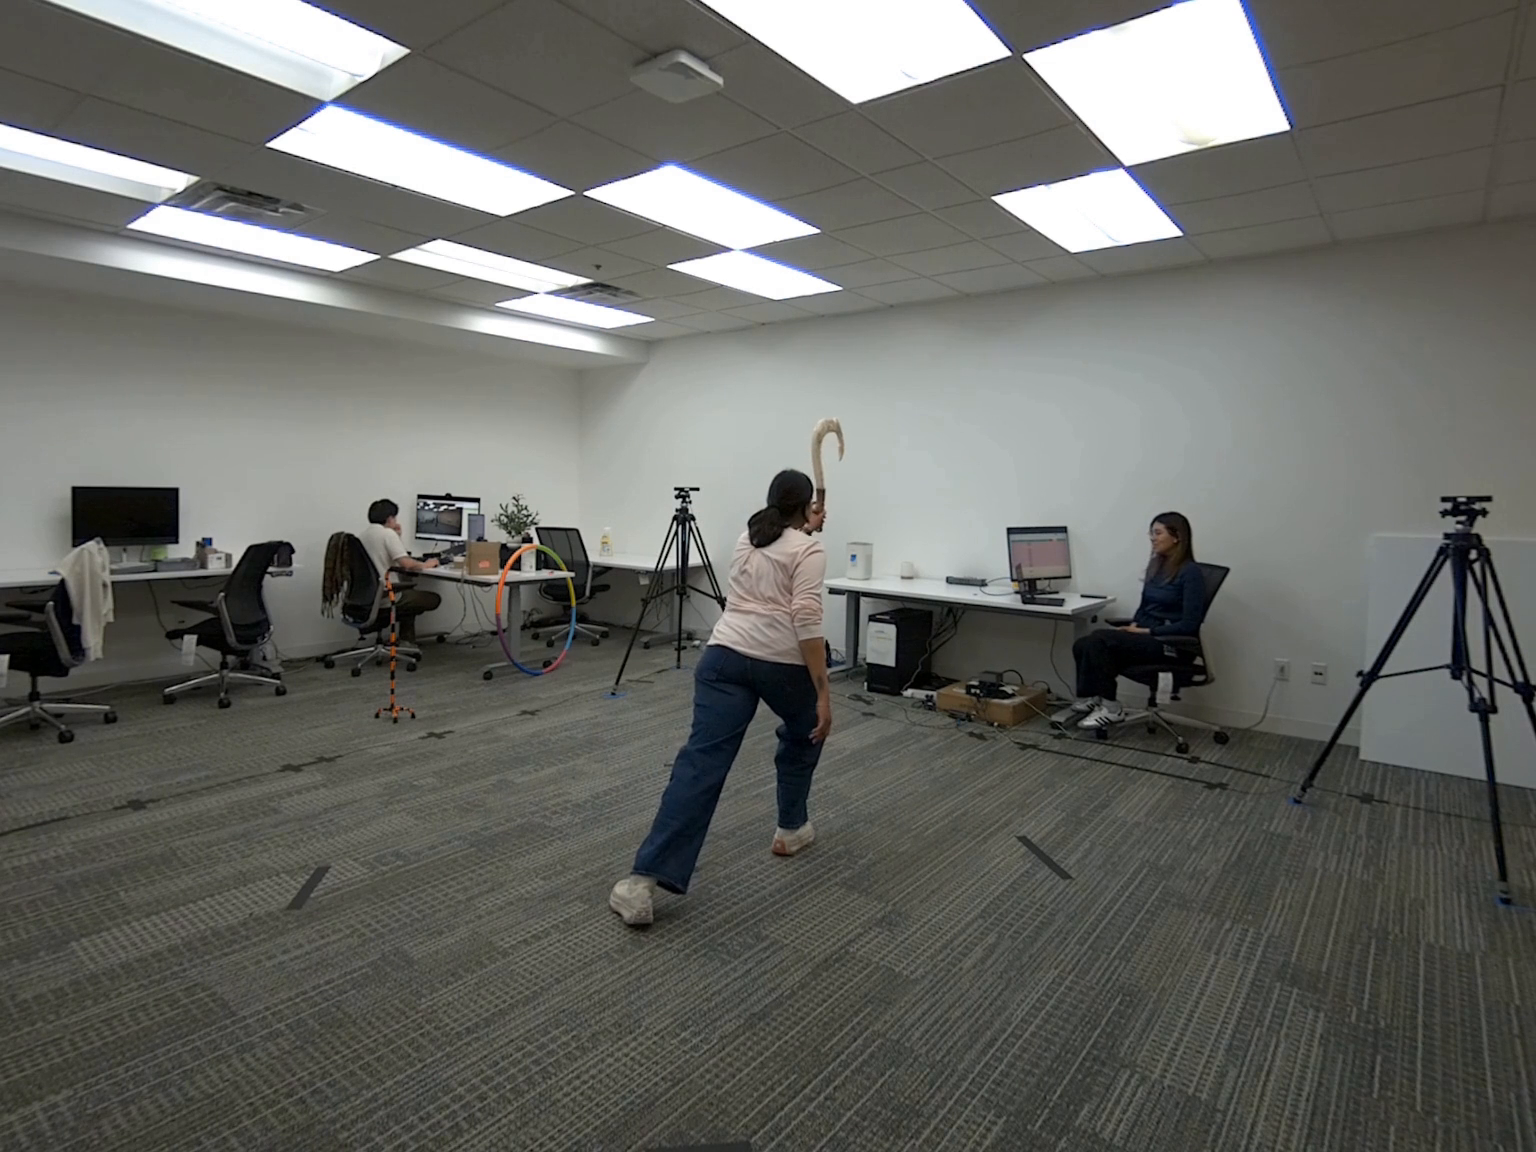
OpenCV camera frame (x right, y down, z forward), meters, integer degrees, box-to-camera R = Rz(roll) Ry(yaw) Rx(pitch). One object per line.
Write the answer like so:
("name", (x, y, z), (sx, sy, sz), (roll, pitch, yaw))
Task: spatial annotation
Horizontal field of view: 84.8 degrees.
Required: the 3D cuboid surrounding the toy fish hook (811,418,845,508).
("toy fish hook", (0.253, -0.447, 3.810), (0.218, 0.502, 0.050), (-8, 13, -41))
